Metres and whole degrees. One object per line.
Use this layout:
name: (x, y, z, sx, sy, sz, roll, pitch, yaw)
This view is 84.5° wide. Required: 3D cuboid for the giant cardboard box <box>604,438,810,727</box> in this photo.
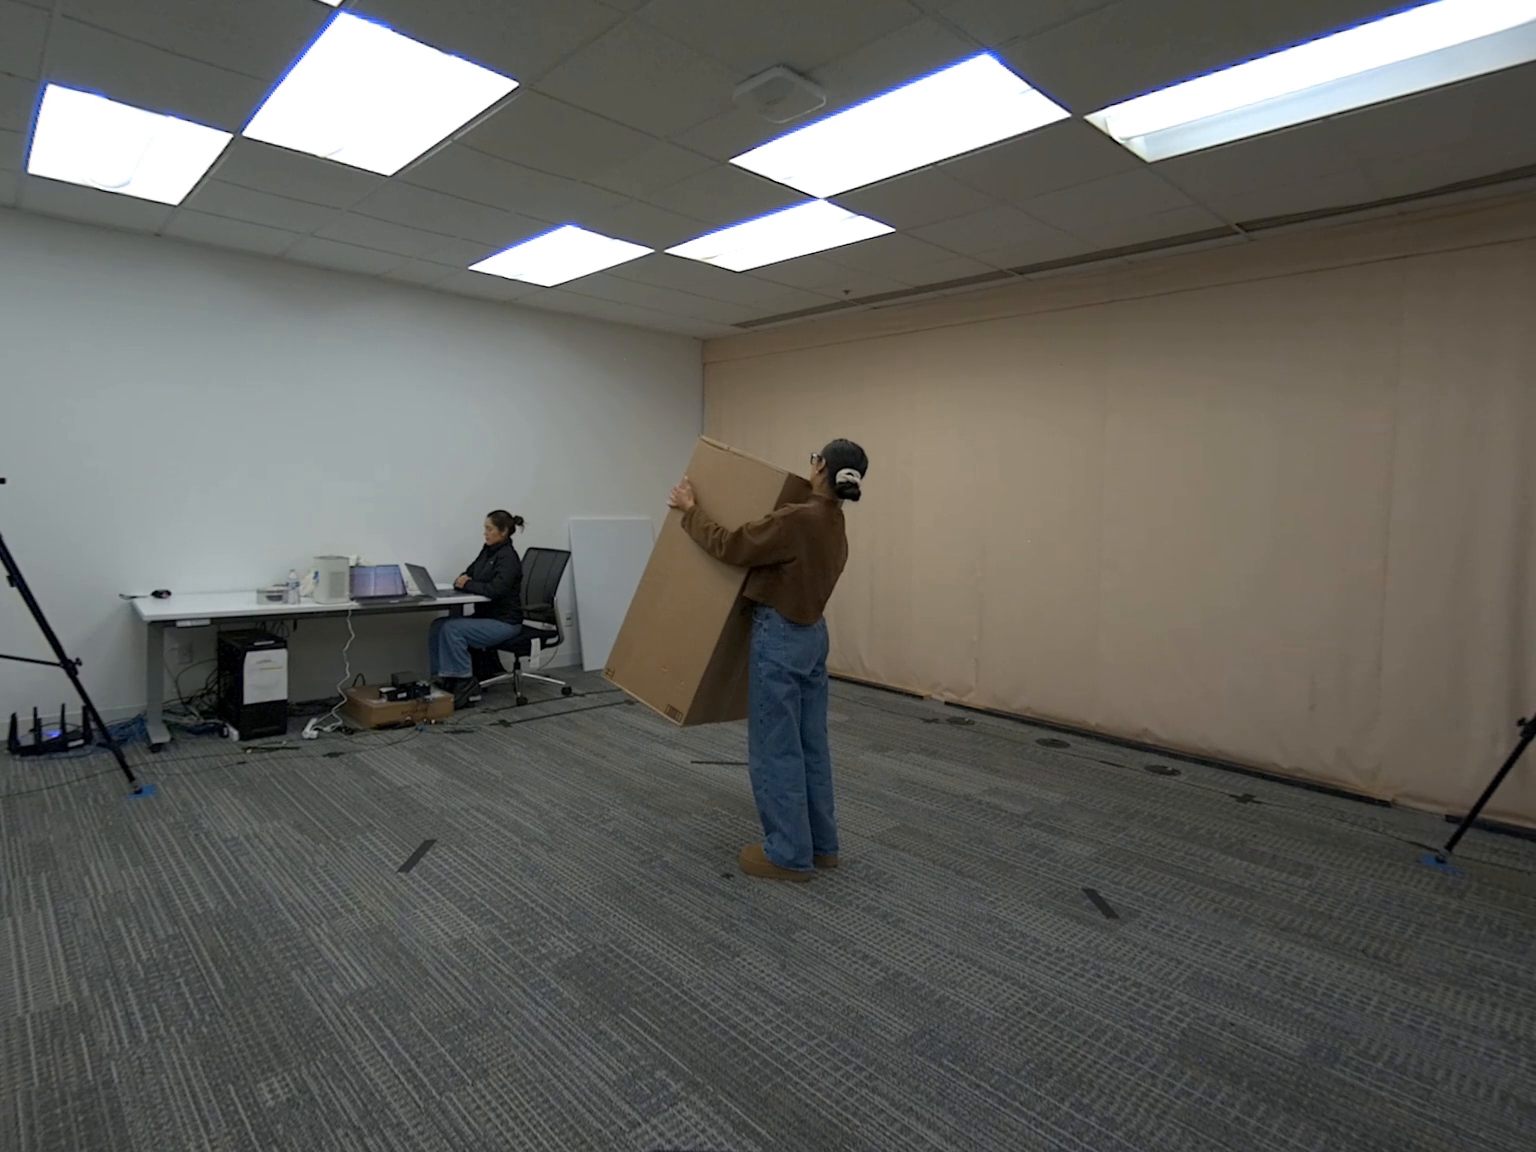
giant cardboard box: (-0.176, 0.035, 3.405, 0.437, 1.023, 0.564, 25, 6, 28)
